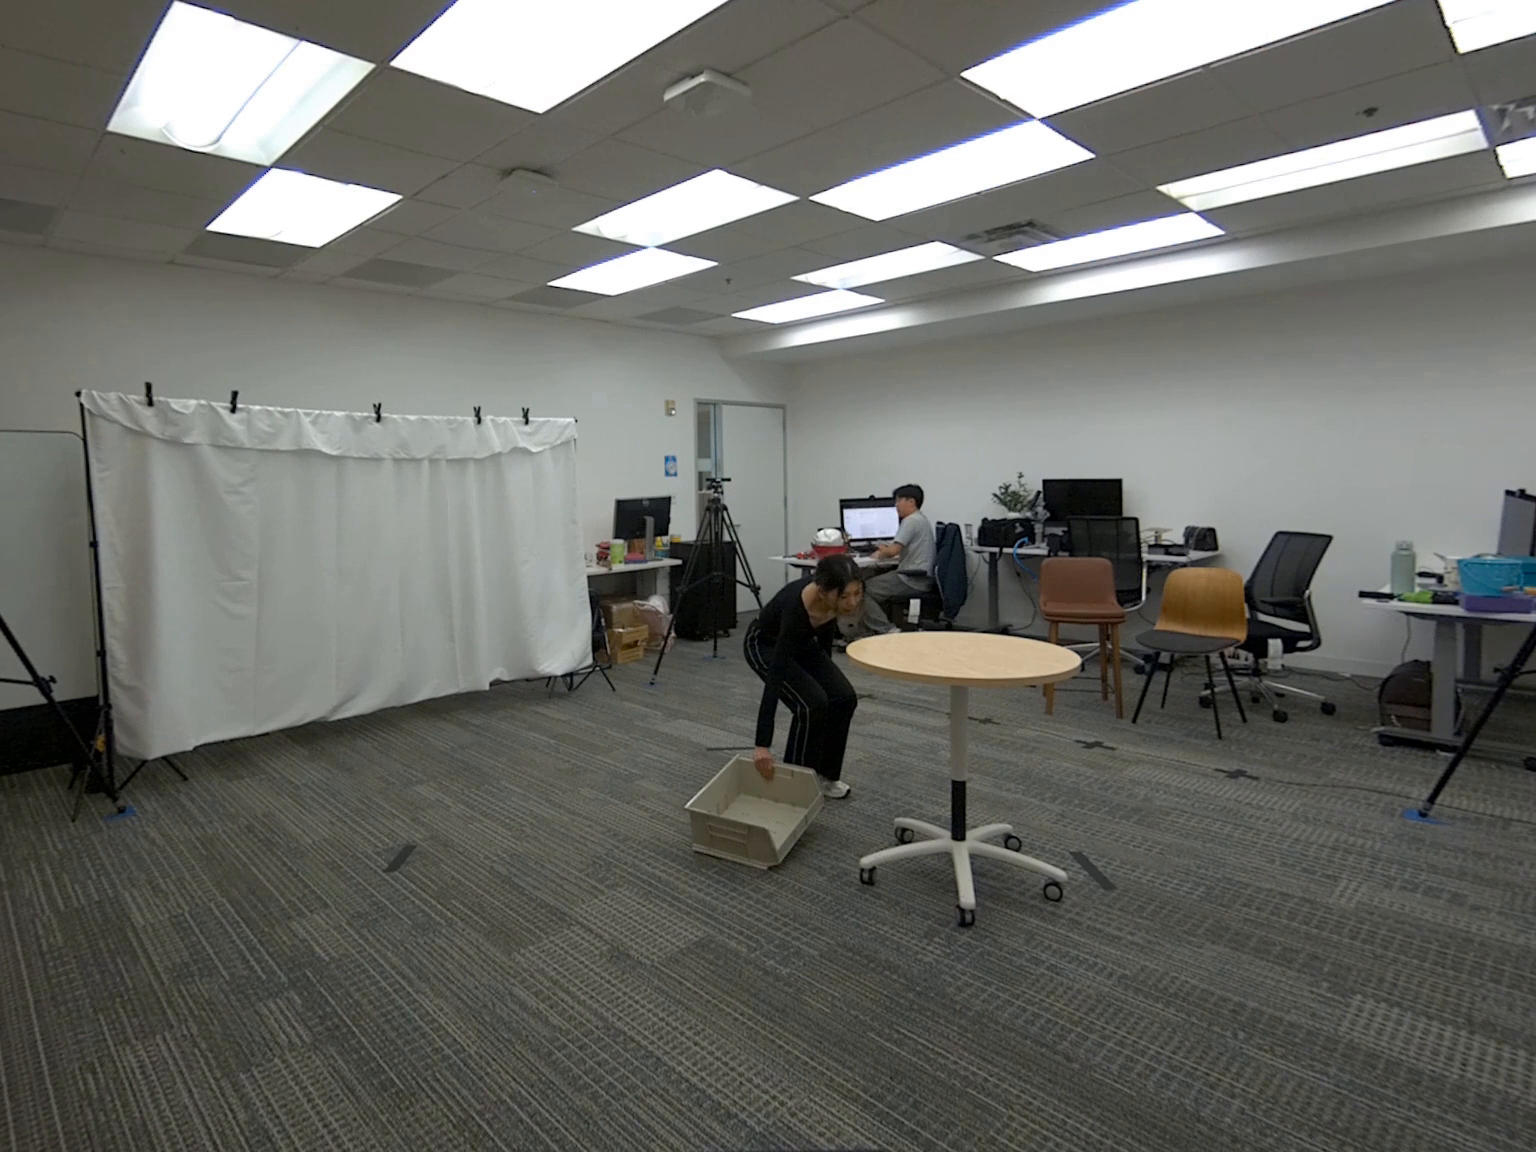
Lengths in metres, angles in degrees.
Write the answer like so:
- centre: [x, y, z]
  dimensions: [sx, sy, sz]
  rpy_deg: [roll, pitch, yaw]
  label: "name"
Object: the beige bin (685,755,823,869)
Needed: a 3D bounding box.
- centre: [-0.040, 0.891, 3.264]
  dimensions: [0.387, 0.186, 0.418]
  rpy_deg: [3, 18, 28]
  label: "beige bin"
